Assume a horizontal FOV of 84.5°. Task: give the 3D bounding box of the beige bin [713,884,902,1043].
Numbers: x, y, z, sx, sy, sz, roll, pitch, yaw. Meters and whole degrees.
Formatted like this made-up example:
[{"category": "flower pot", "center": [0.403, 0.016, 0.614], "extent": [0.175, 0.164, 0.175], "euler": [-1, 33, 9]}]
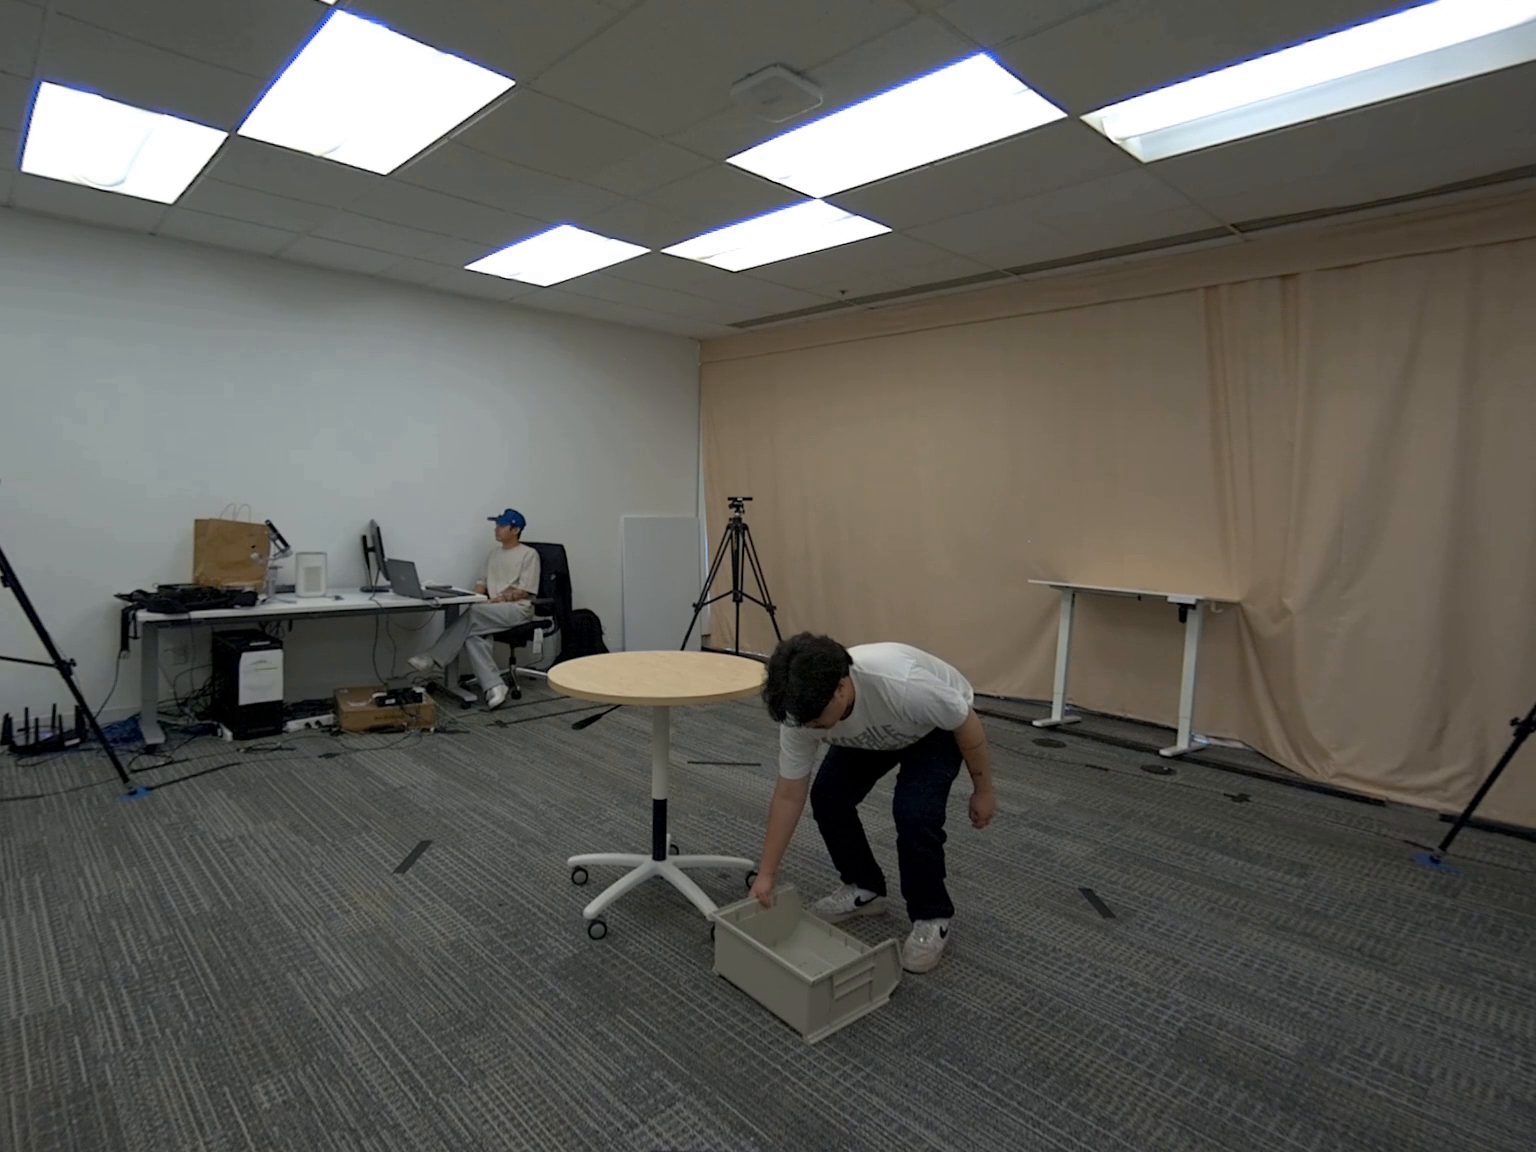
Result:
[{"category": "beige bin", "center": [0.099, 1.084, 2.414], "extent": [0.369, 0.188, 0.433], "euler": [-4, 8, -42]}]
